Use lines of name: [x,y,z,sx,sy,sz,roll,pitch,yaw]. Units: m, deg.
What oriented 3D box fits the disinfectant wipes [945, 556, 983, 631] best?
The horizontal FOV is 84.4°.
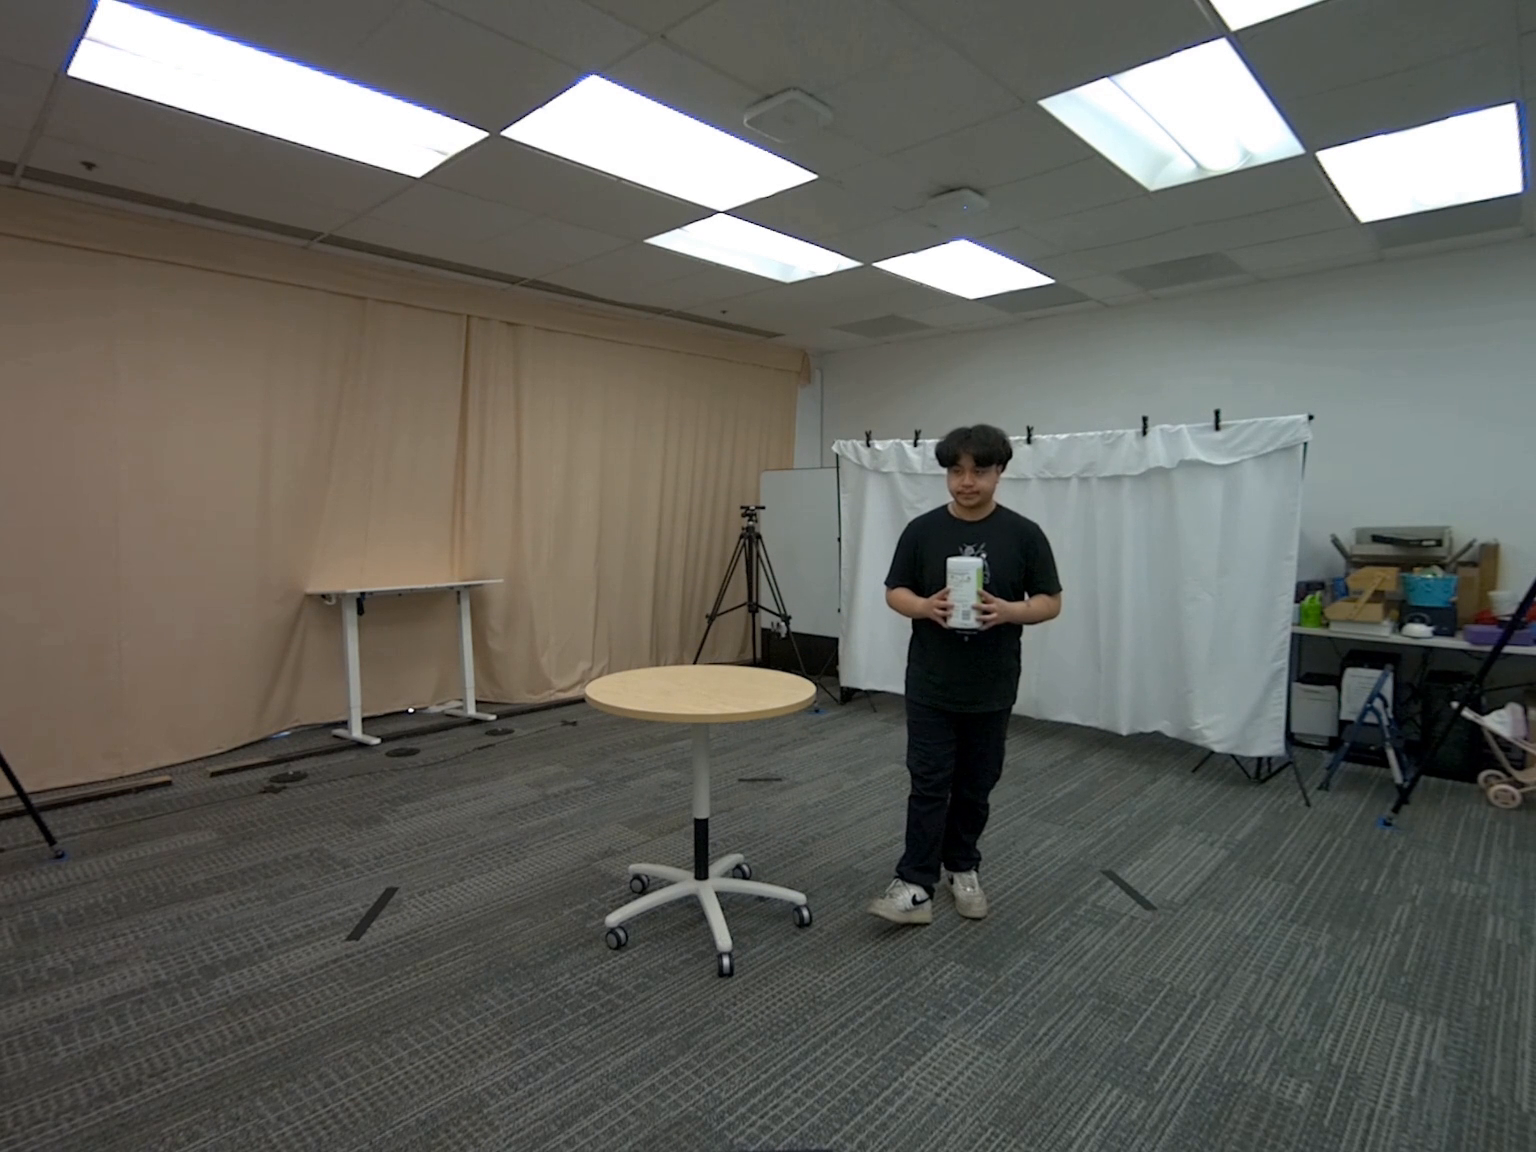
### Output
disinfectant wipes: [0.619,0.051,2.641,0.118,0.216,0.118,-1,6,-2]
